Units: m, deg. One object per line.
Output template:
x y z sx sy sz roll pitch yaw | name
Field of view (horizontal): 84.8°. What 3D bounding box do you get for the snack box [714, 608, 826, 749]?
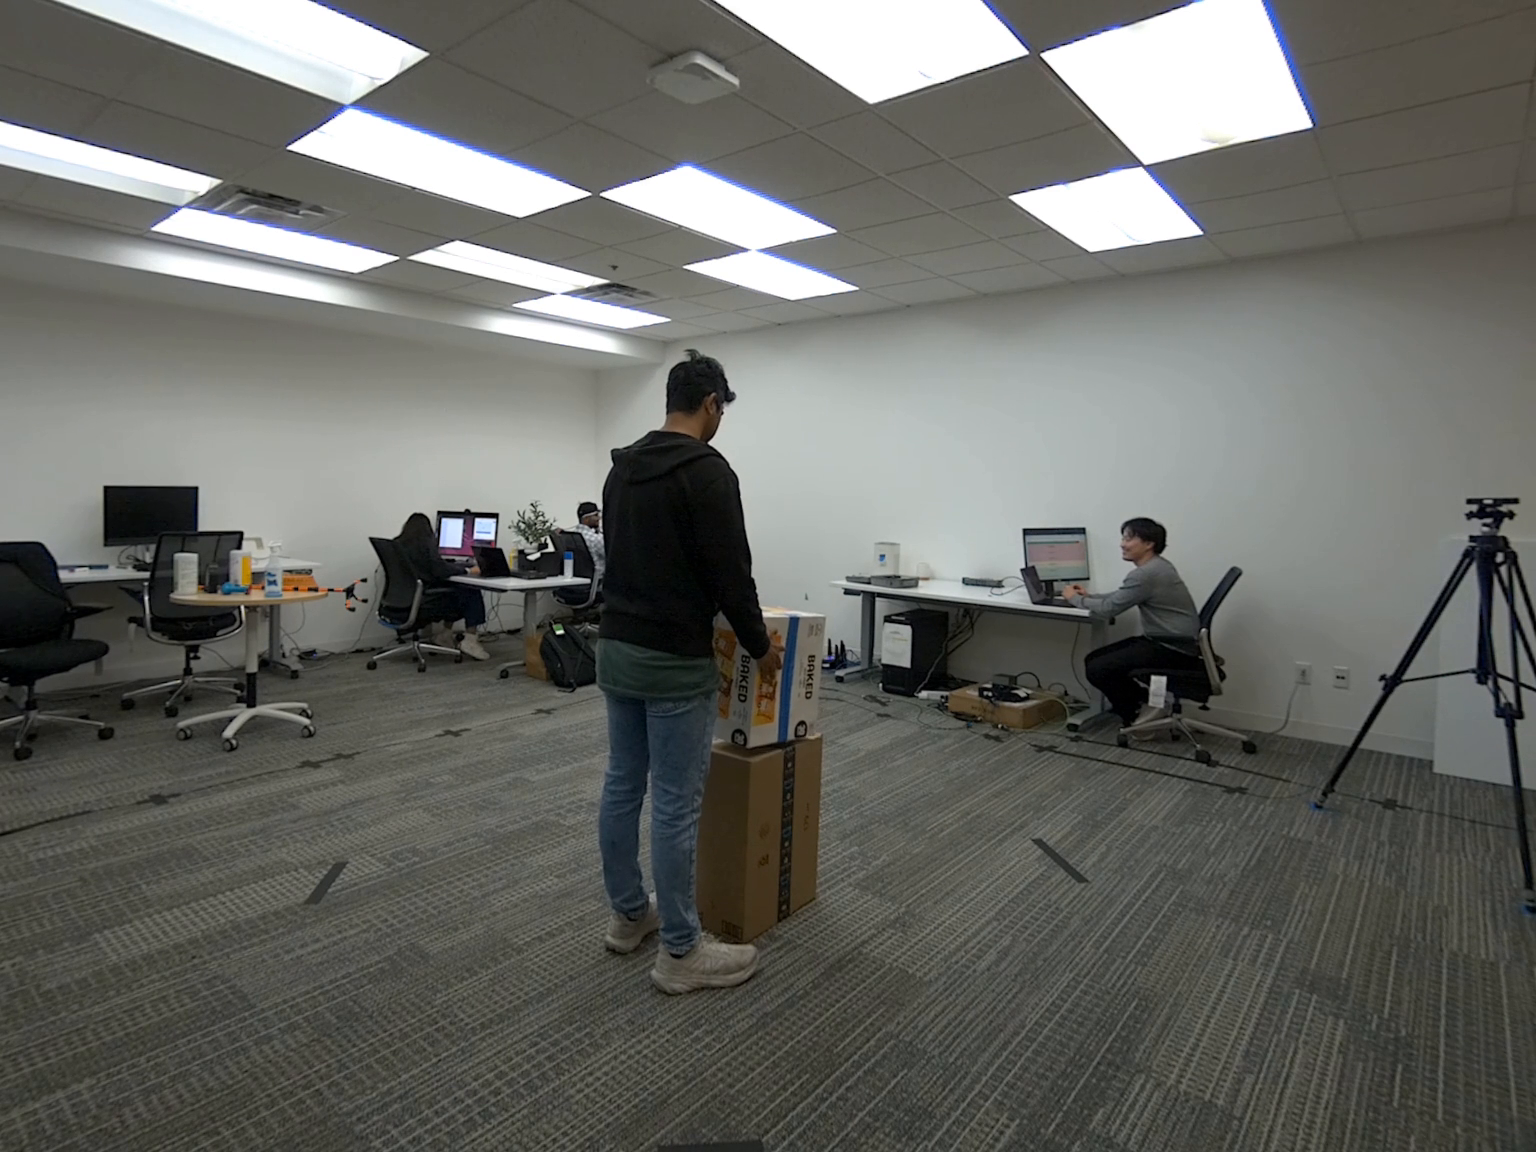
-0.017 0.310 2.772 0.213 0.405 0.329 6 2 41 | snack box
